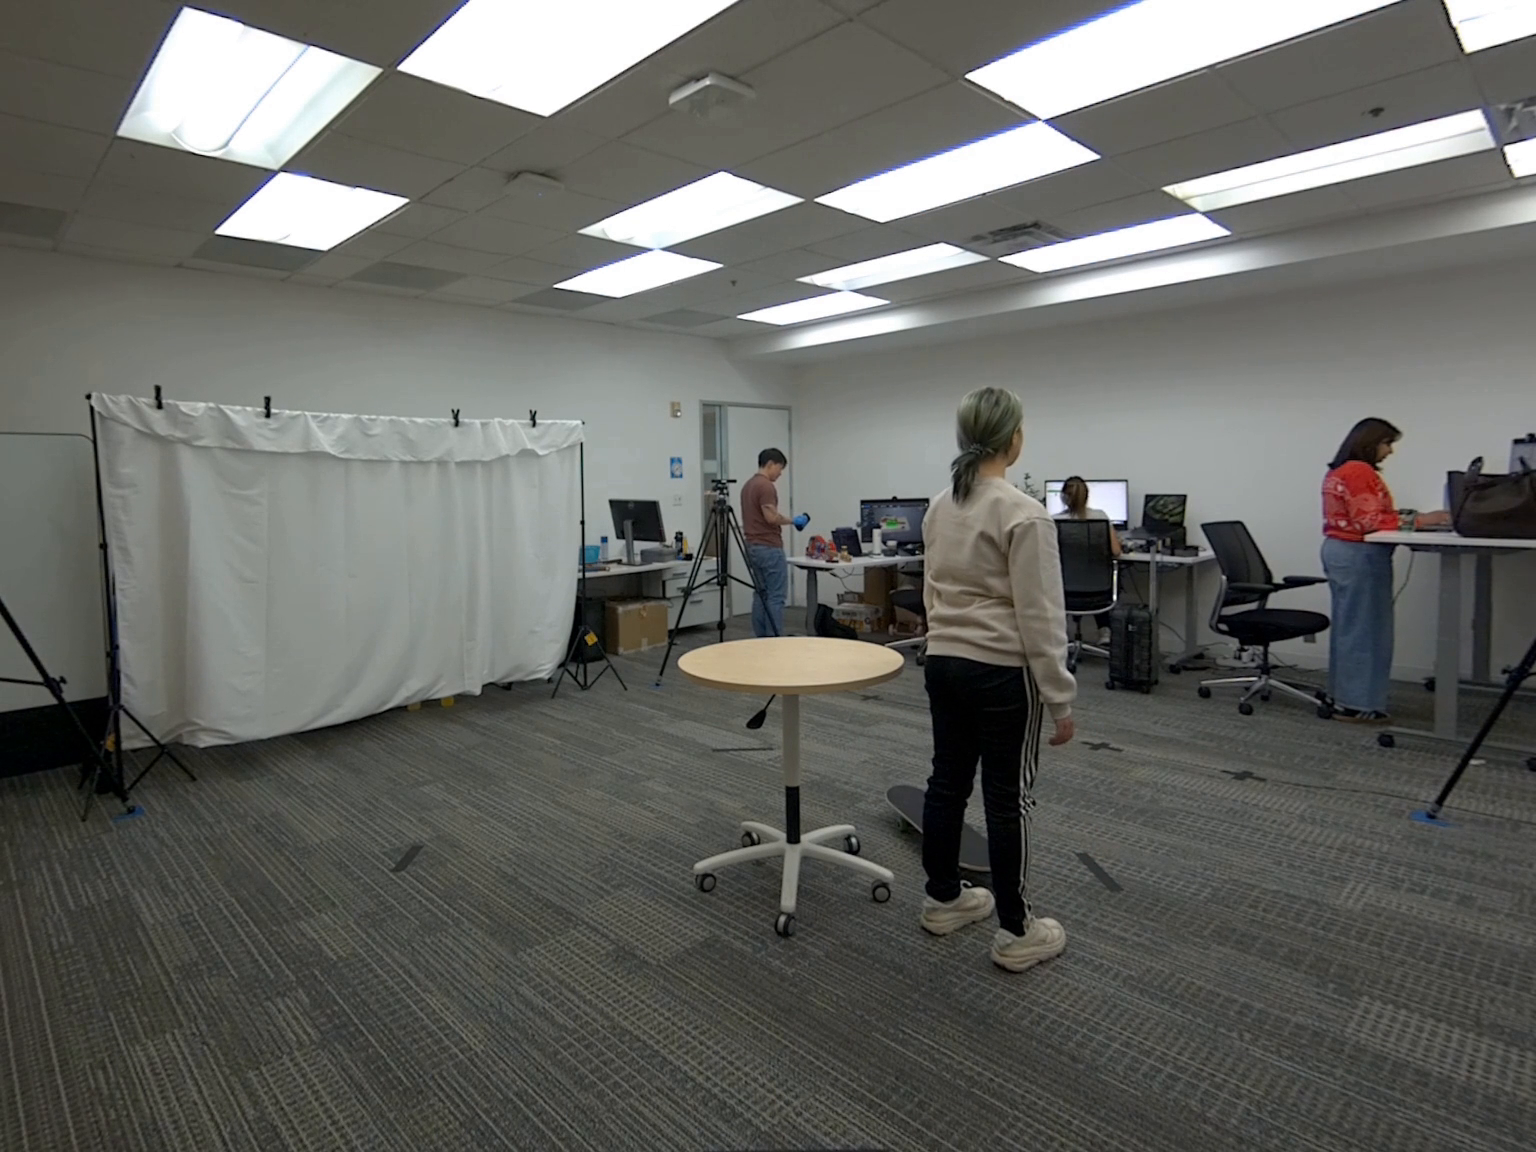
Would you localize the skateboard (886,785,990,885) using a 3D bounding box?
[{"bbox_3d":[0.645,0.954,3.185,0.191,0.110,0.800,0,7,-15],"label":"skateboard"}]
